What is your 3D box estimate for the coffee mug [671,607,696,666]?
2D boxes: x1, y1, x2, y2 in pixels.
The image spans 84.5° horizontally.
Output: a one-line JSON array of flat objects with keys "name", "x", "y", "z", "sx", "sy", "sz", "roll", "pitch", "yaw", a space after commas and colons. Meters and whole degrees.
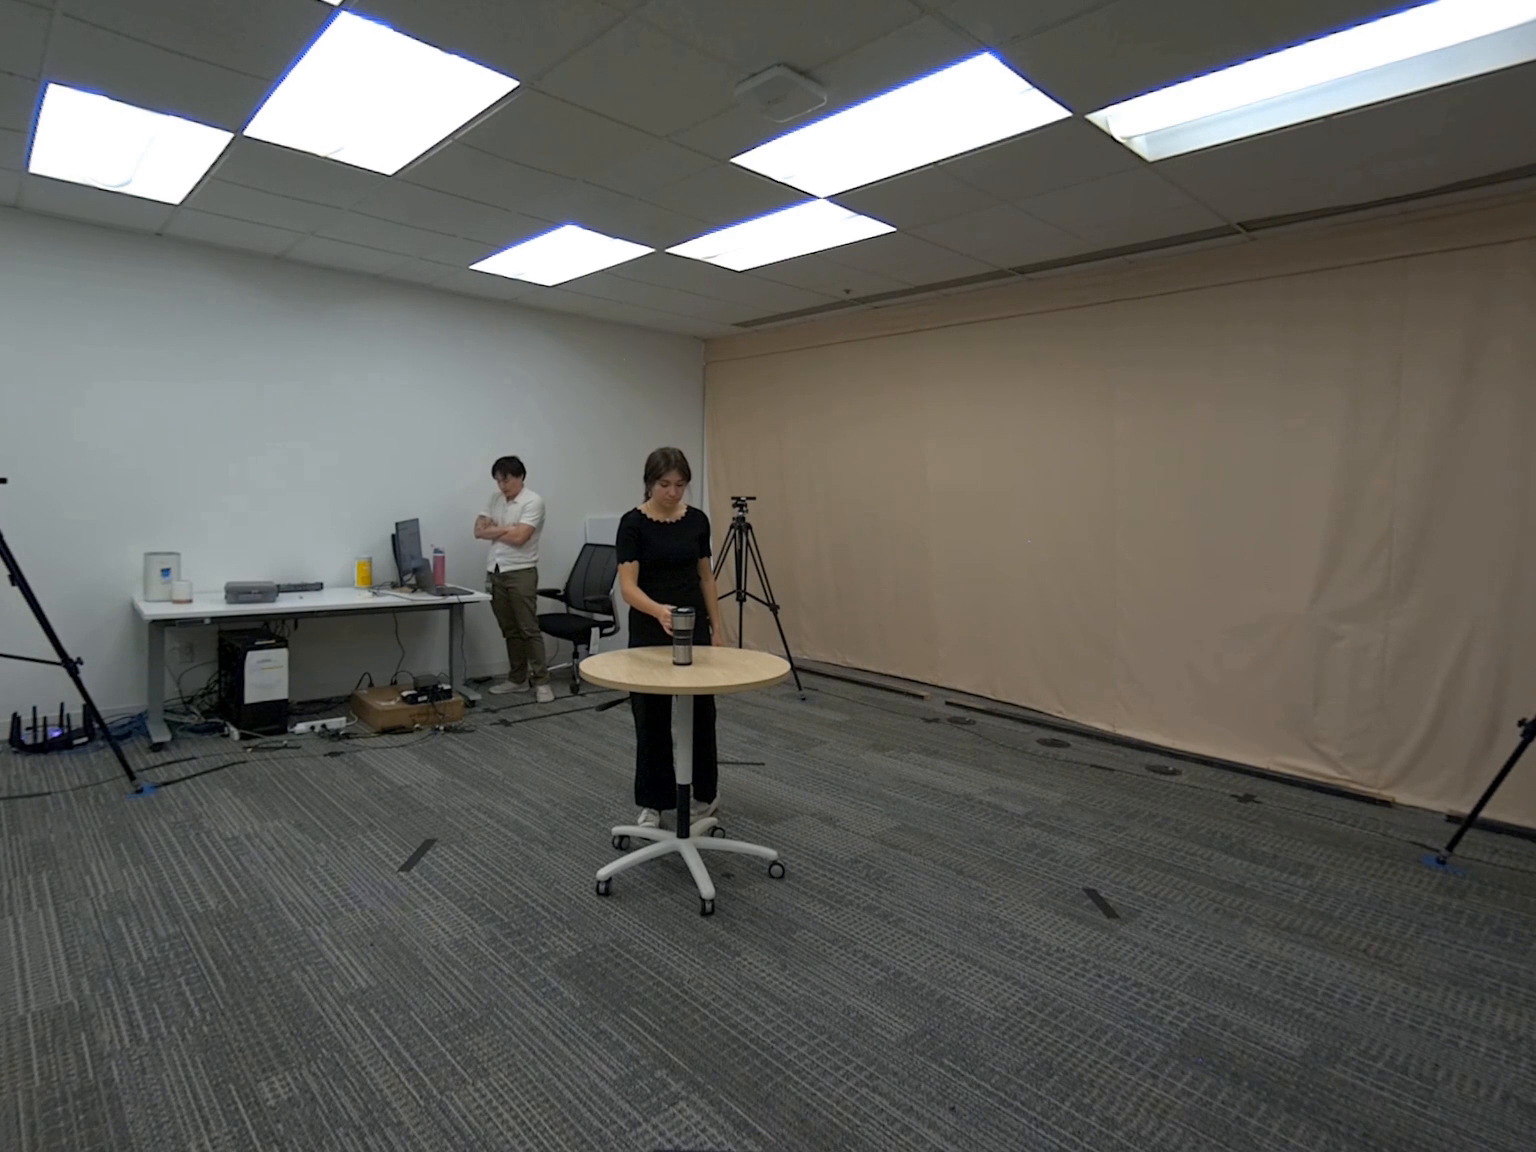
[{"name": "coffee mug", "x": -0.311, "y": 0.223, "z": 3.072, "sx": 0.090, "sy": 0.202, "sz": 0.120, "roll": -3, "pitch": 3, "yaw": 34}]
